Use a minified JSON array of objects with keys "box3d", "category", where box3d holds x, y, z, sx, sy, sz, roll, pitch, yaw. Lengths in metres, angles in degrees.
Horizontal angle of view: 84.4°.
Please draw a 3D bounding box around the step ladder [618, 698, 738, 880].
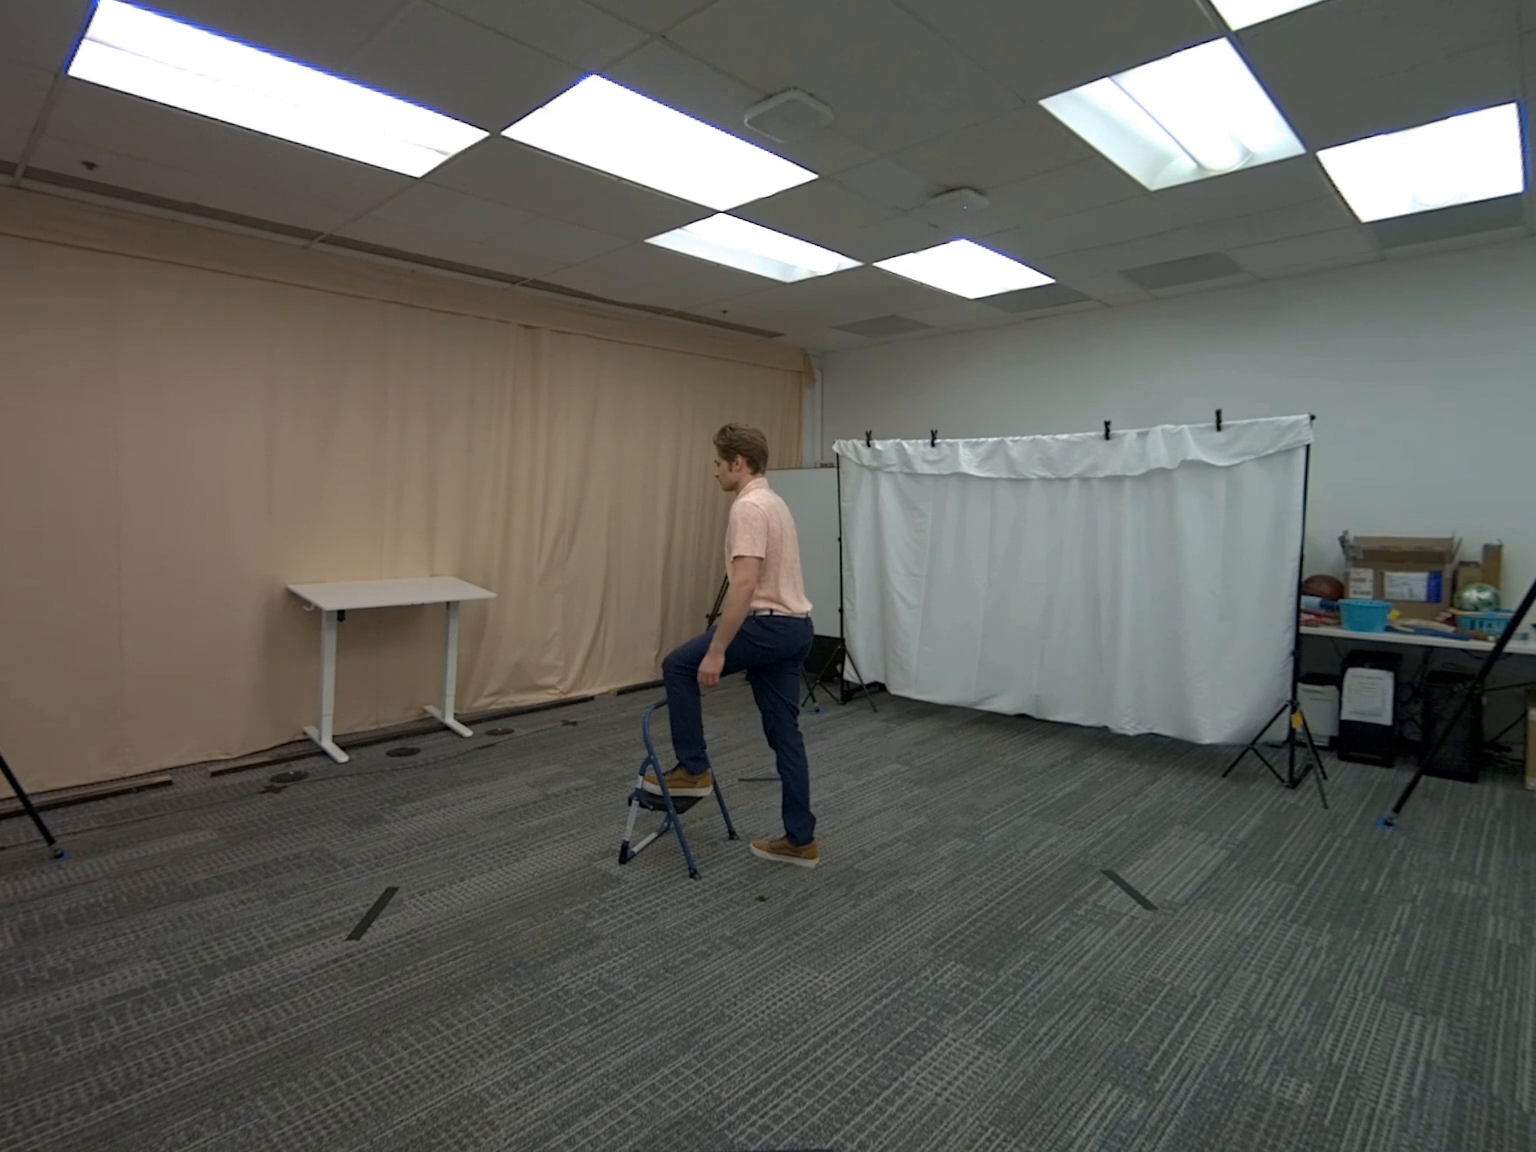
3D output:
[{"box3d":[-0.359,0.810,3.393,0.357,0.605,0.422,0,3,21],"category":"step ladder"}]
